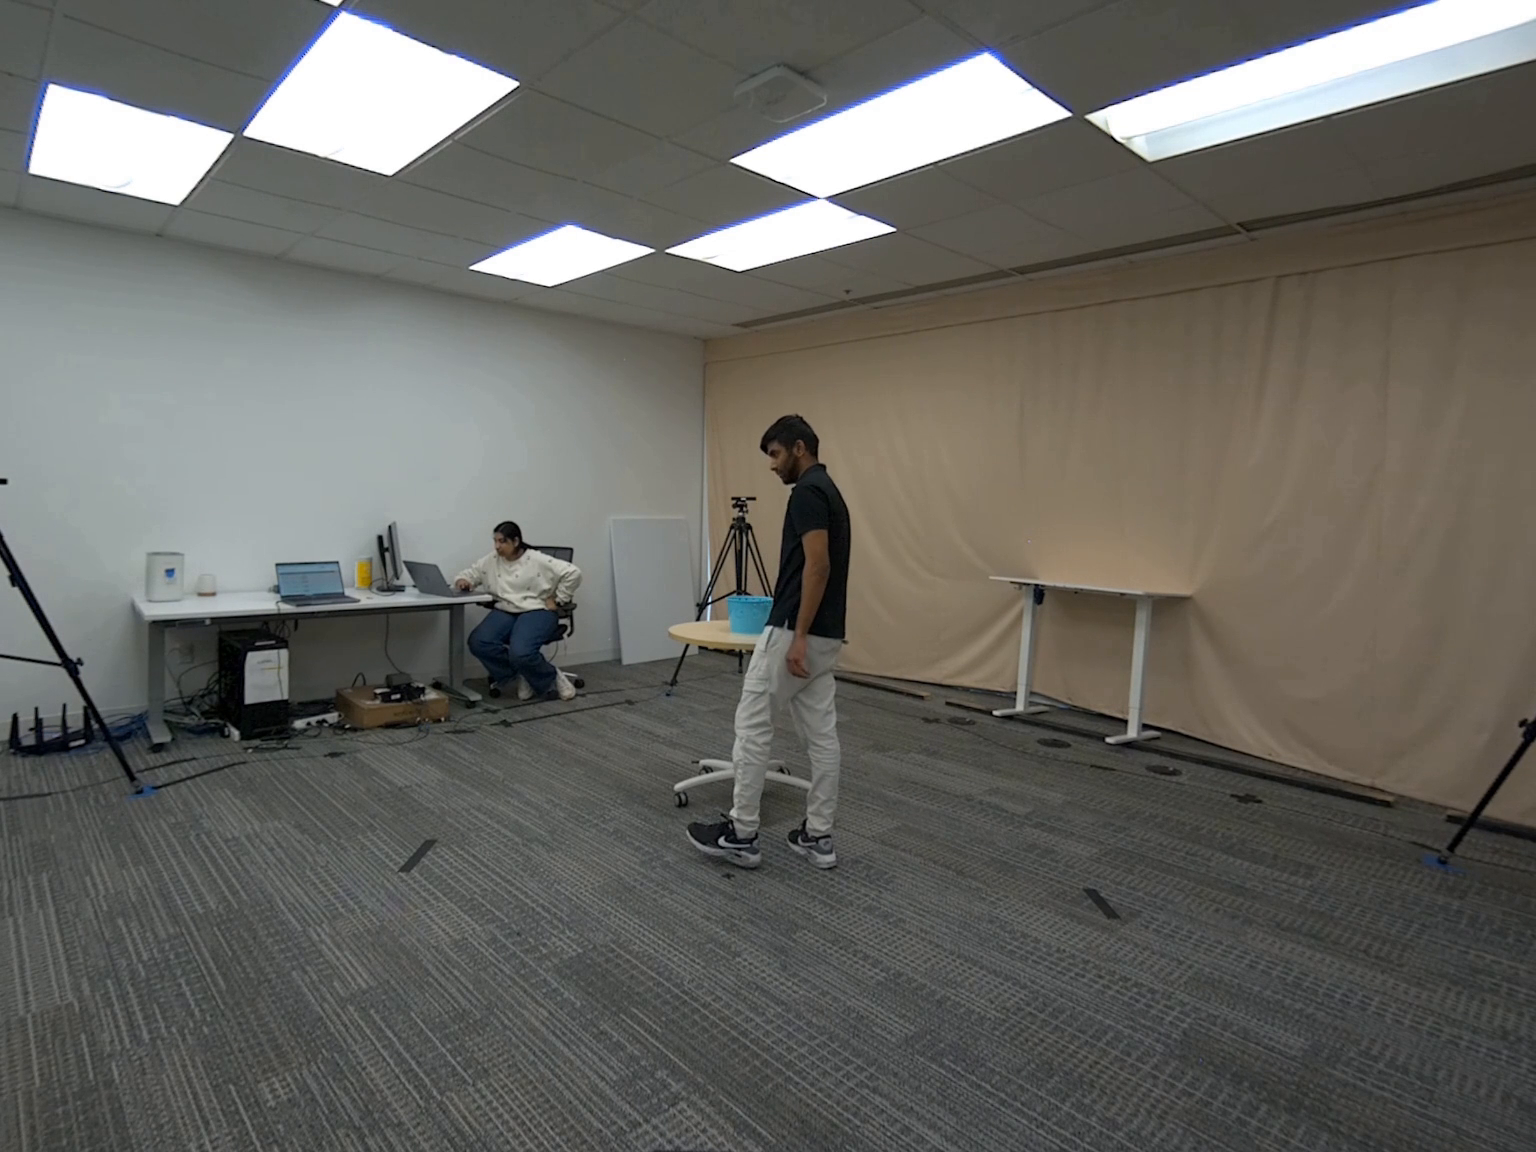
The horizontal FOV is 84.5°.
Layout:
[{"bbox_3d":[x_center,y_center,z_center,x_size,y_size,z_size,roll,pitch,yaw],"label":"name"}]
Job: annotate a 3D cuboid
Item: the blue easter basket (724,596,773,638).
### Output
[{"bbox_3d":[-0.077,0.185,3.910,0.243,0.155,0.244,2,4,-1],"label":"blue easter basket"}]
